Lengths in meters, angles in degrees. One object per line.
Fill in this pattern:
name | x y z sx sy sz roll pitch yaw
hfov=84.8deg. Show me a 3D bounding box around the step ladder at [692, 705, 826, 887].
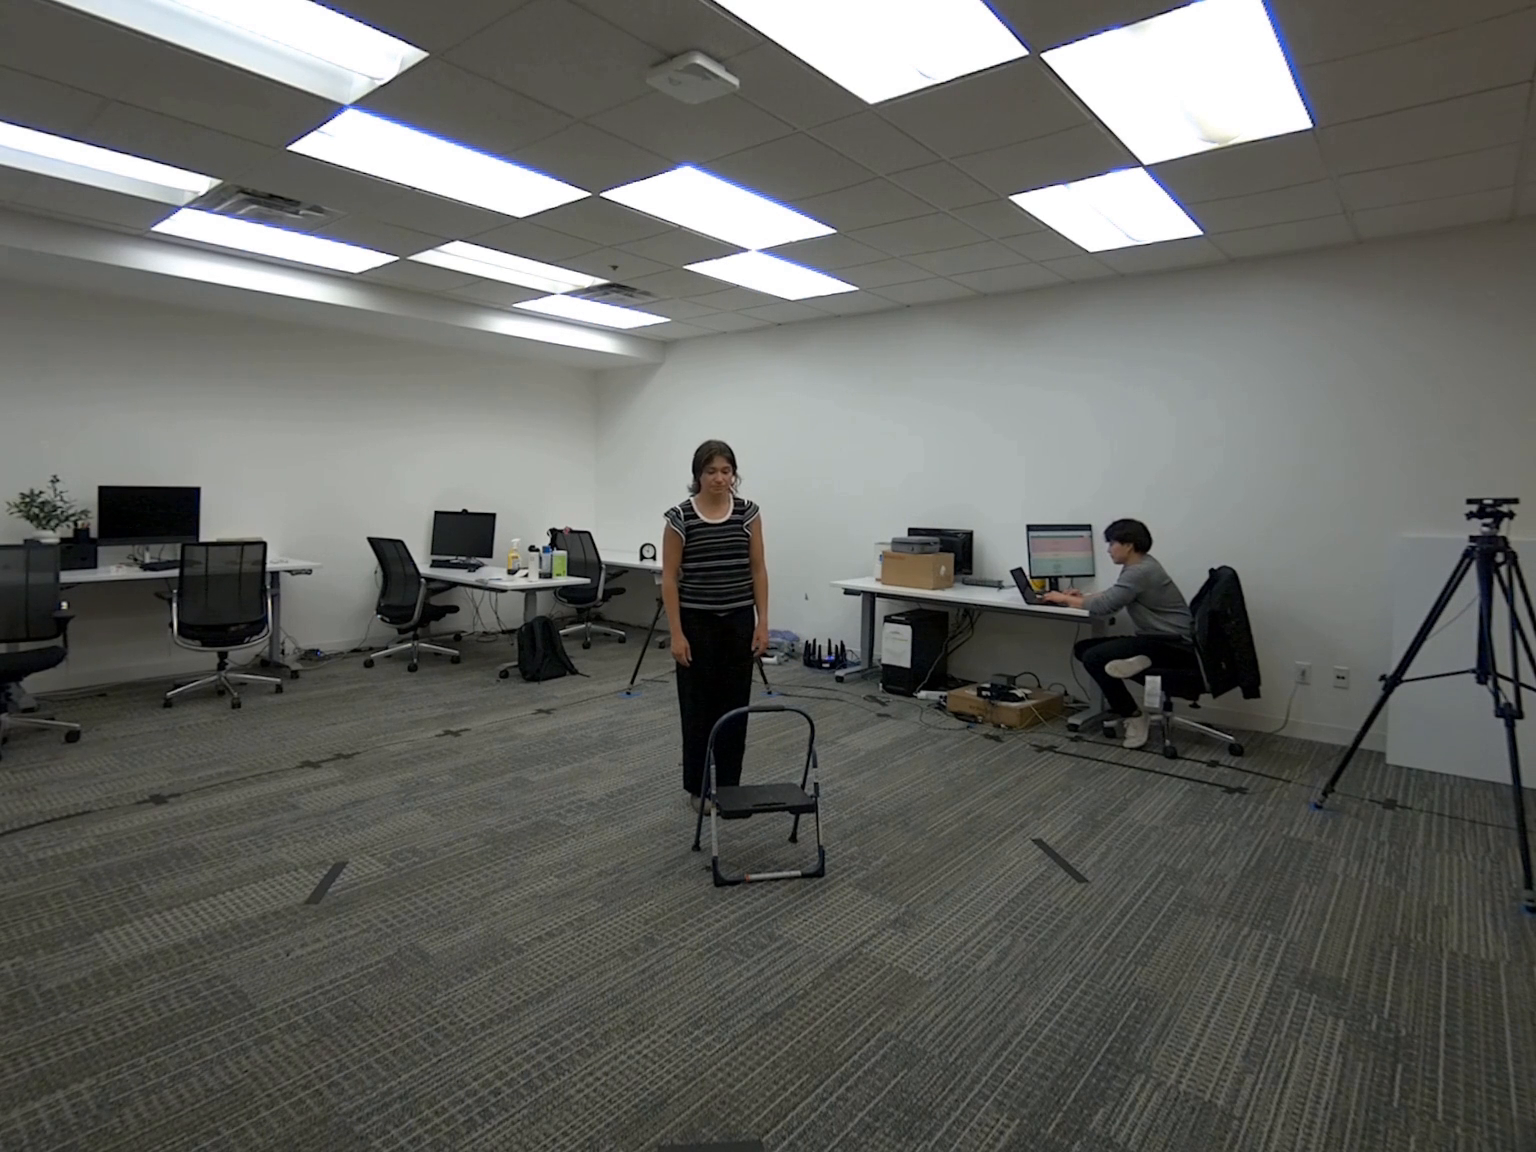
step ladder | -0.044 0.764 3.166 0.423 0.605 0.356 0 3 -16
